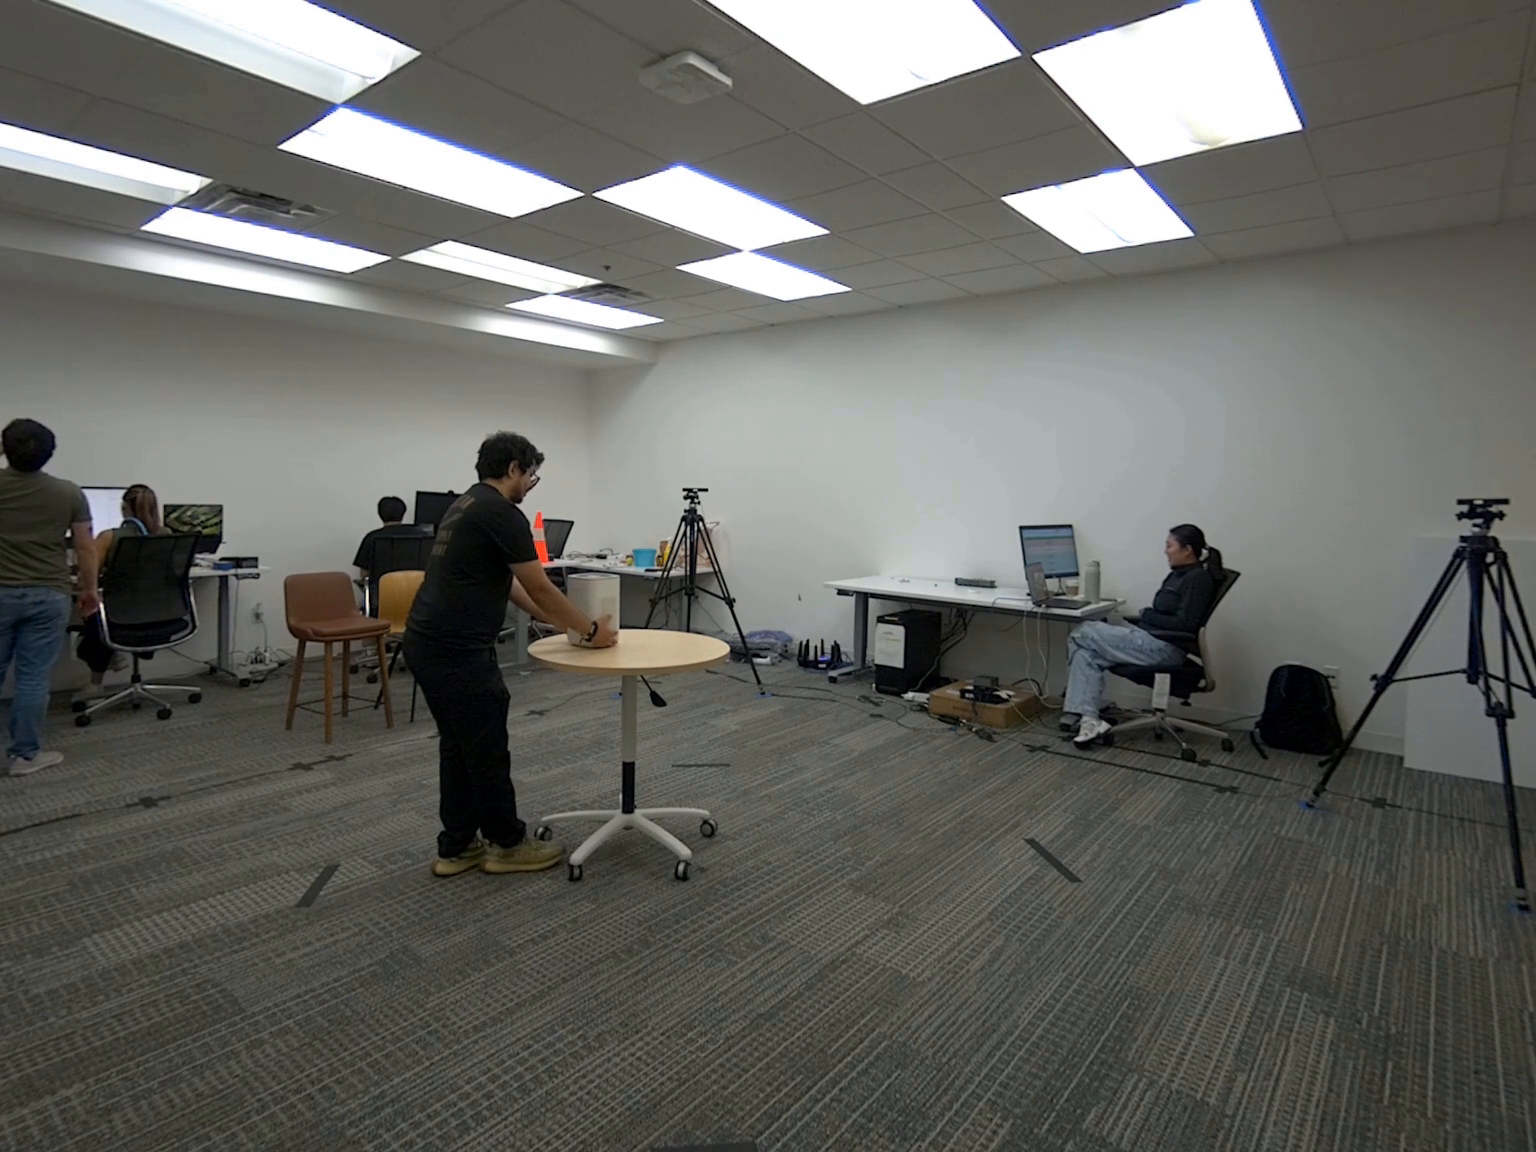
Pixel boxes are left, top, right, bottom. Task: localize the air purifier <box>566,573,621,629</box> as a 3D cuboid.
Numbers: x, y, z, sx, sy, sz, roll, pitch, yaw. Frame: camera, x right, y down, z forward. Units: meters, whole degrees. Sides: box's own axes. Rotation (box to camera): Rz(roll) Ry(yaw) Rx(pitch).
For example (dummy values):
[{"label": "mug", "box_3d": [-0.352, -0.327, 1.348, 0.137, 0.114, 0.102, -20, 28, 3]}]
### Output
[{"label": "air purifier", "box_3d": [-0.692, 0.130, 3.281, 0.176, 0.265, 0.167, 3, 4, 33]}]
